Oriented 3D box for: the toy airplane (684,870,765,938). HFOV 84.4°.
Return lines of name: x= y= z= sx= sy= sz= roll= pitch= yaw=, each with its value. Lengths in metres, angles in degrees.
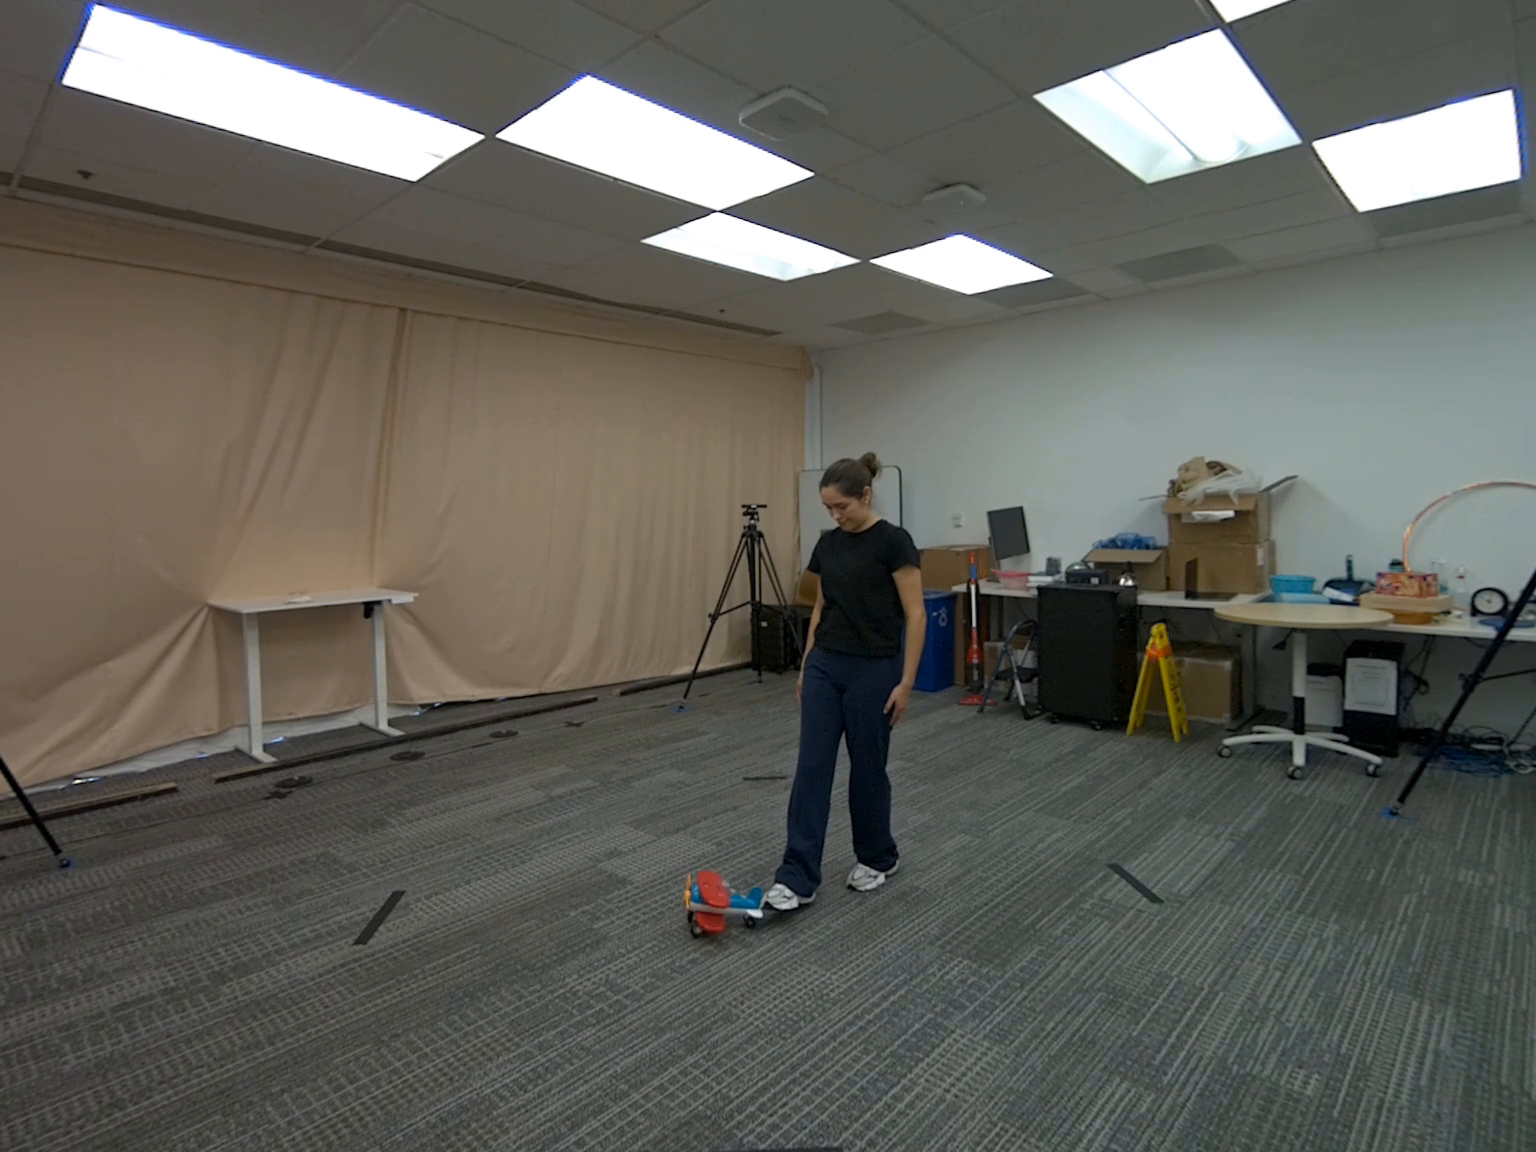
toy airplane: x=-0.137 y=1.085 z=2.783 sx=0.252 sy=0.156 sz=0.259 roll=-5 pitch=4 yaw=-35
